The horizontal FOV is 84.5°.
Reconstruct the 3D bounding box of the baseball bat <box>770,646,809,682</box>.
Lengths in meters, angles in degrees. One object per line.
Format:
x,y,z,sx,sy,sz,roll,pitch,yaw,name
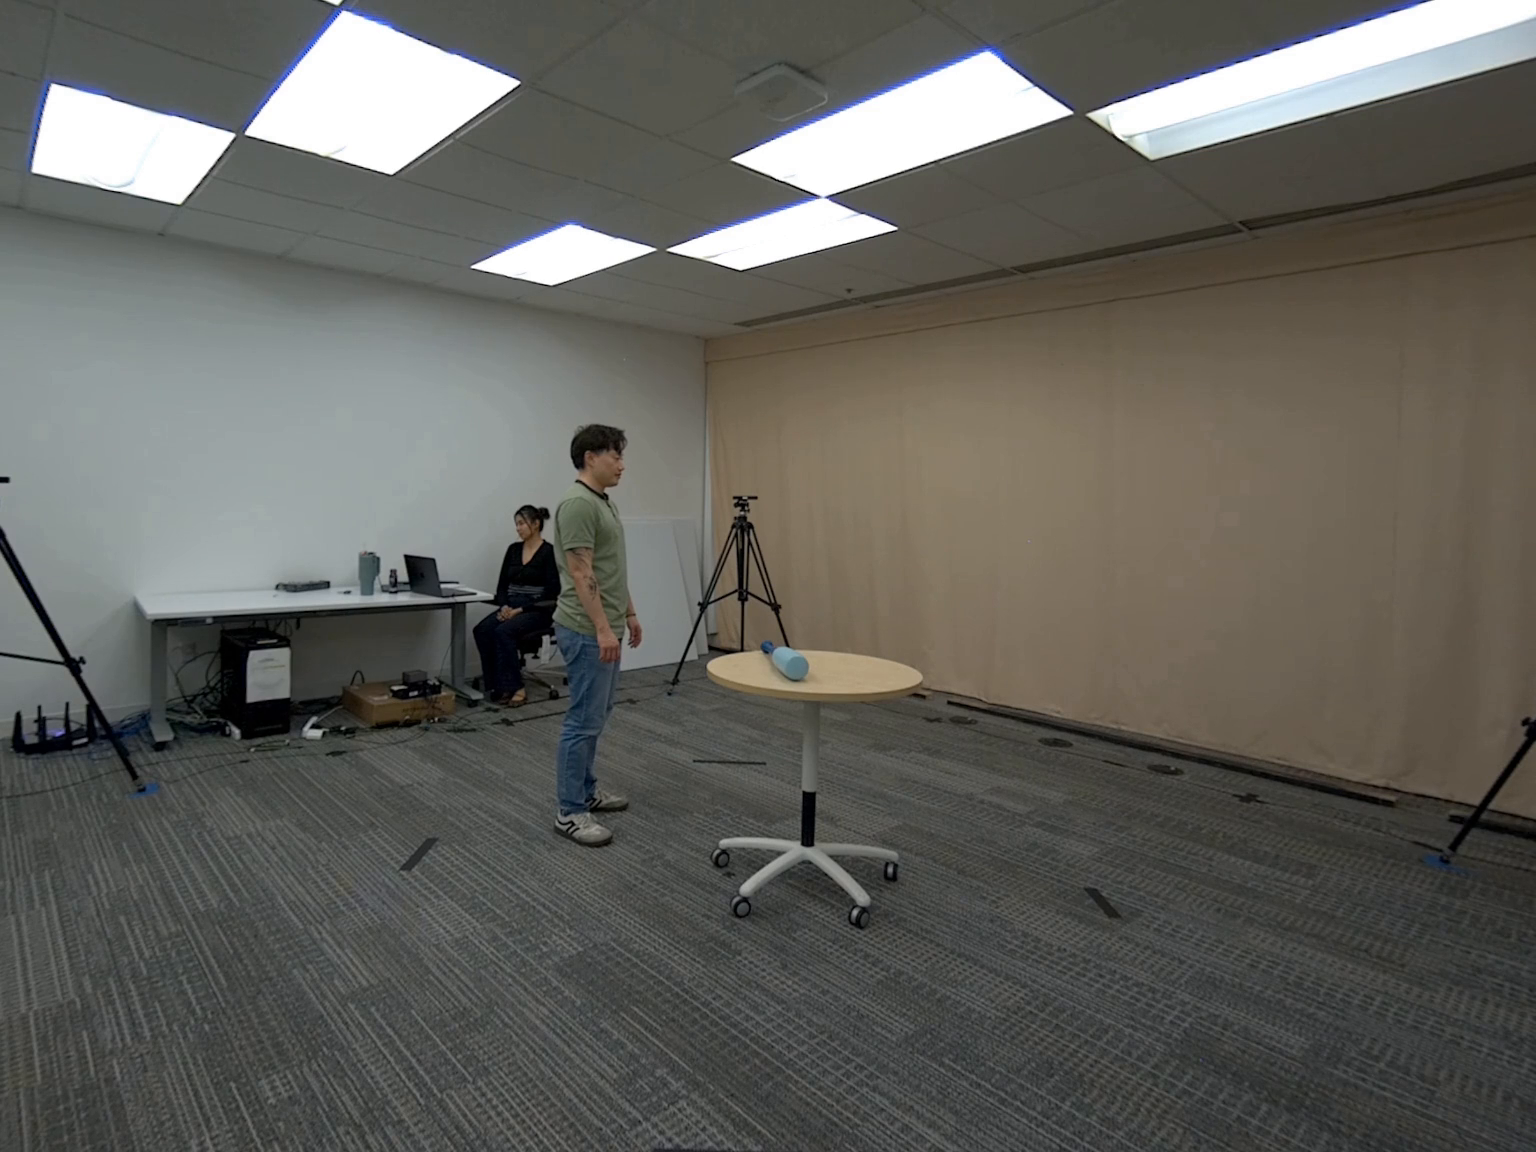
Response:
0.039,0.291,3.043,0.088,0.089,0.547,1,3,-9,baseball bat
